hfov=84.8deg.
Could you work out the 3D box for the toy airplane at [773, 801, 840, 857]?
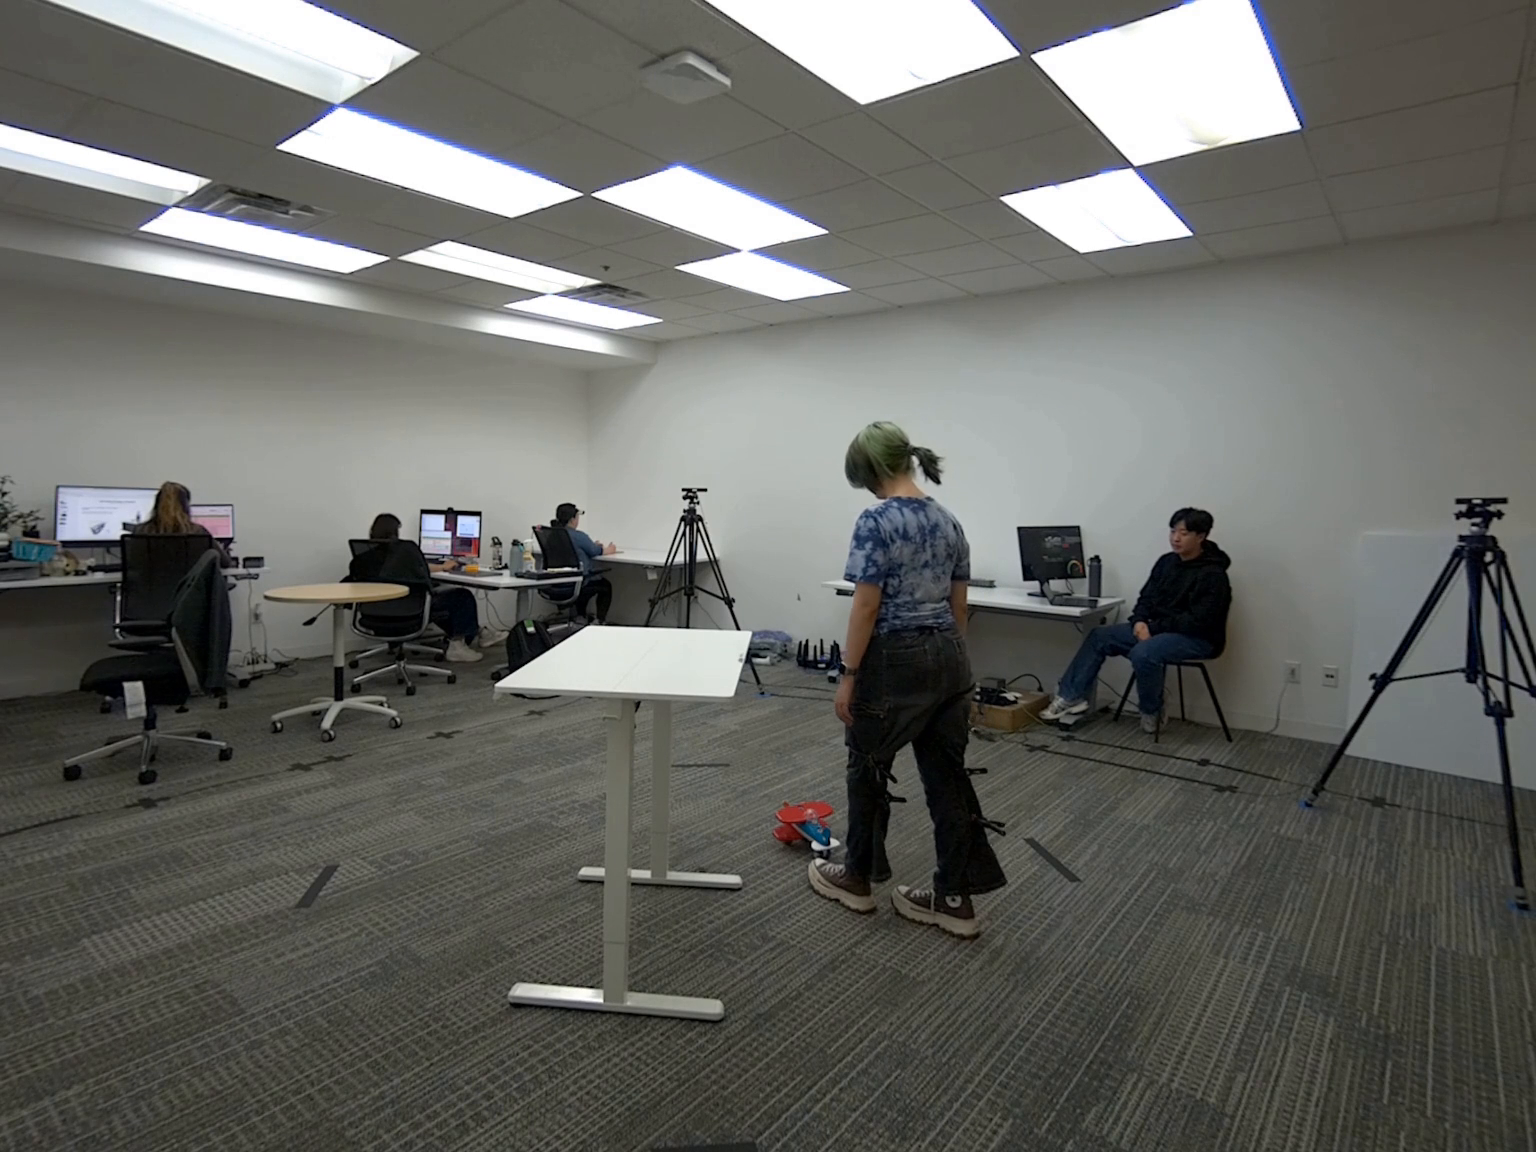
[{"bbox_3d":[0.157,0.980,3.311,0.267,0.156,0.245,3,4,29],"label":"toy airplane"}]
